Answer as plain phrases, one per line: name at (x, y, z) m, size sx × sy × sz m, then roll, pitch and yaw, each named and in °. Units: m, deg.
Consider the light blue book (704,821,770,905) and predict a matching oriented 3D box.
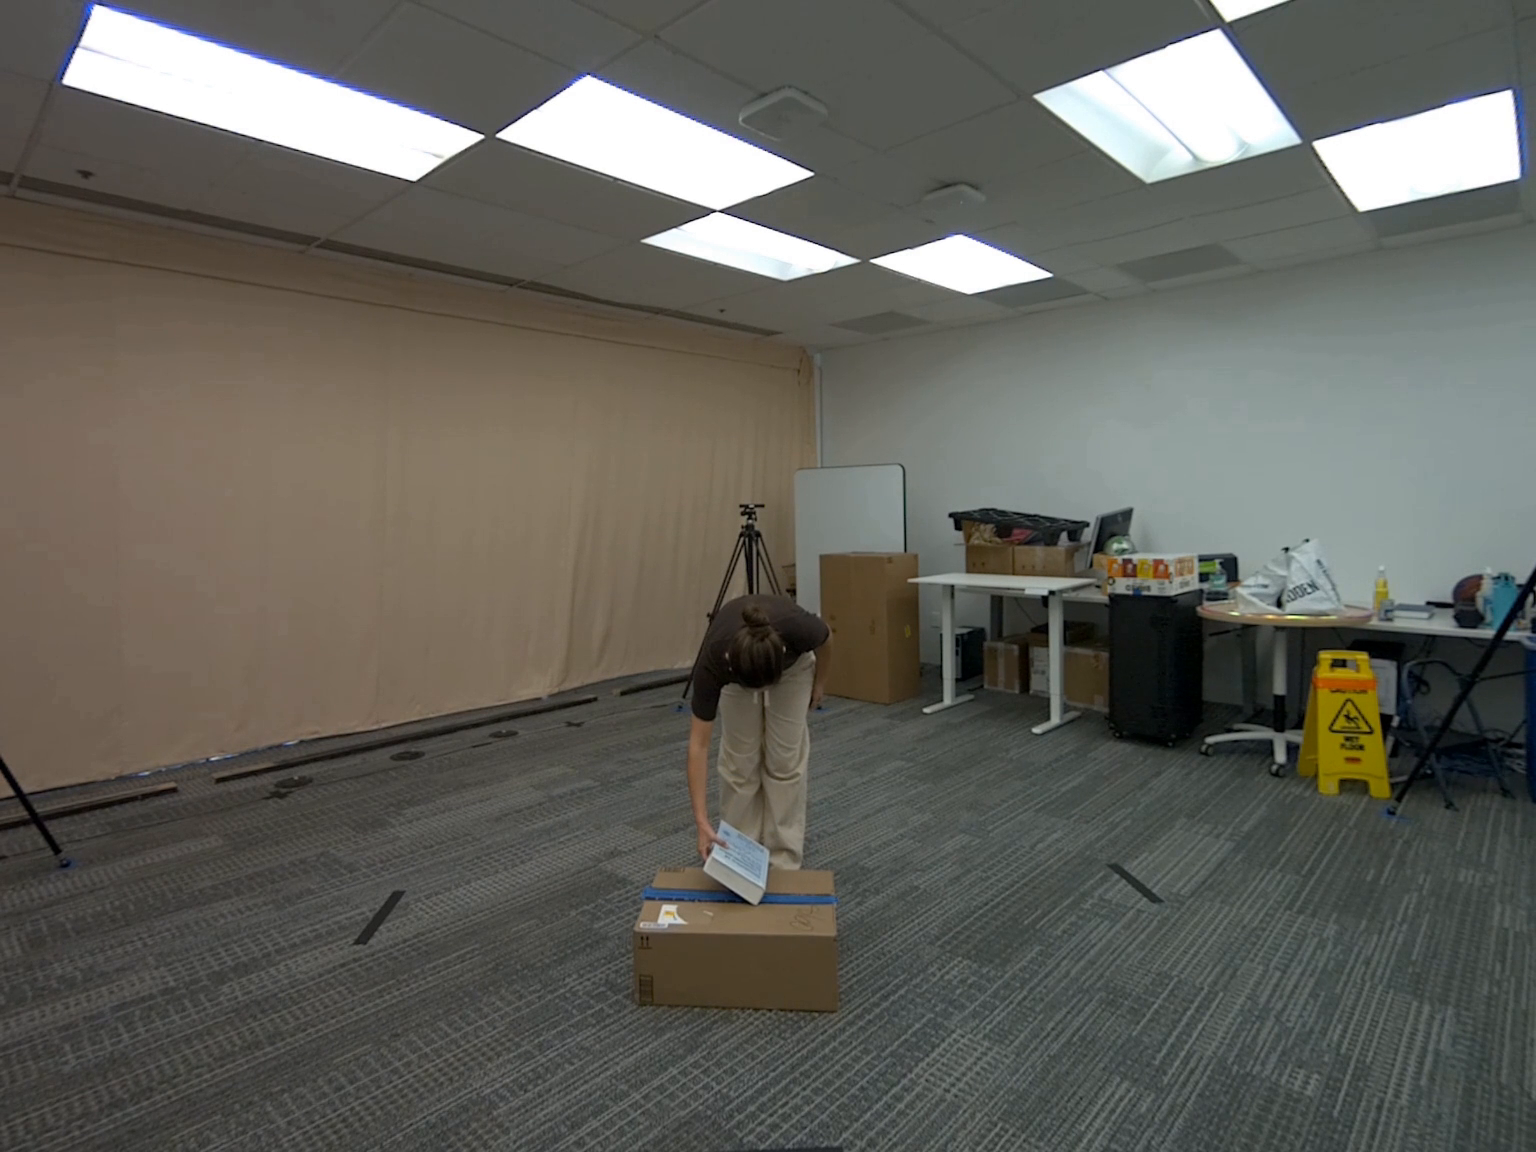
light blue book at (-0.088, 0.878, 2.601) m, size 0.192 × 0.059 × 0.260 m, roll 31°, pitch 7°, yaw 1°
